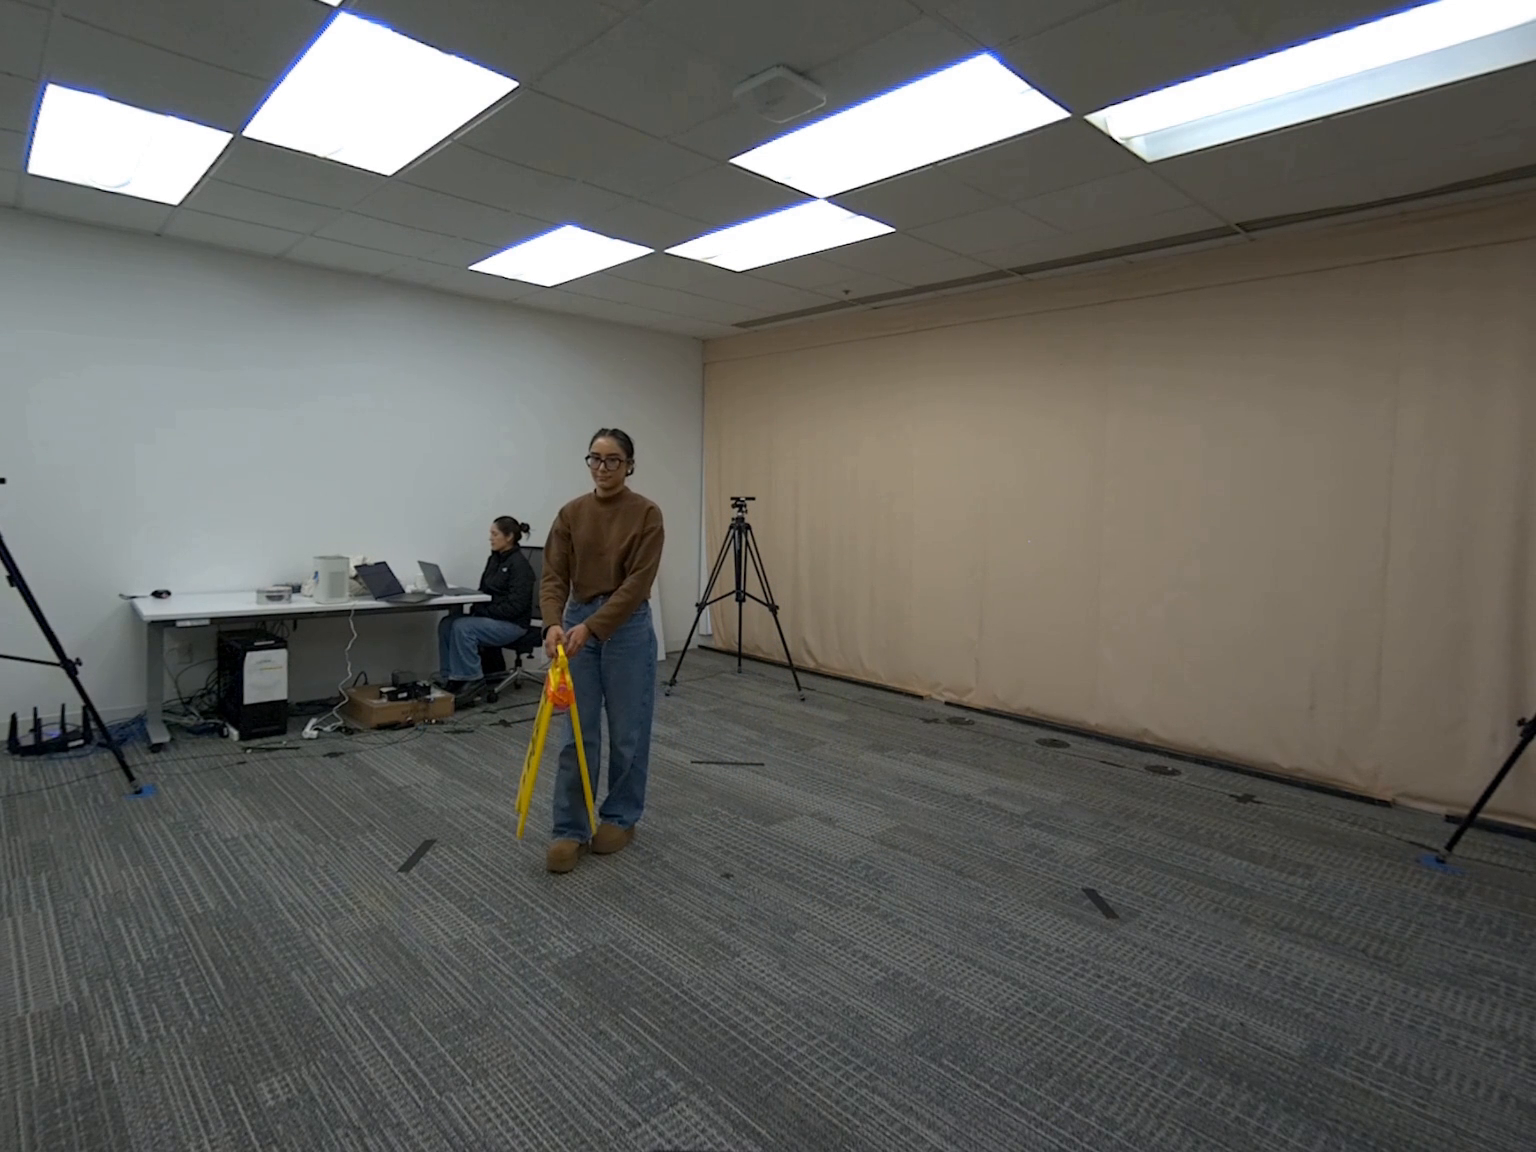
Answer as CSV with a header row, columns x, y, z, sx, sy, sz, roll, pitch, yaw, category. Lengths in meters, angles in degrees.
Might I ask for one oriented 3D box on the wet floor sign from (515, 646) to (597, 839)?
x,y,z,sx,sy,sz,roll,pitch,yaw,category
-0.776,0.571,3.017,0.286,0.643,0.287,1,7,-17,wet floor sign
